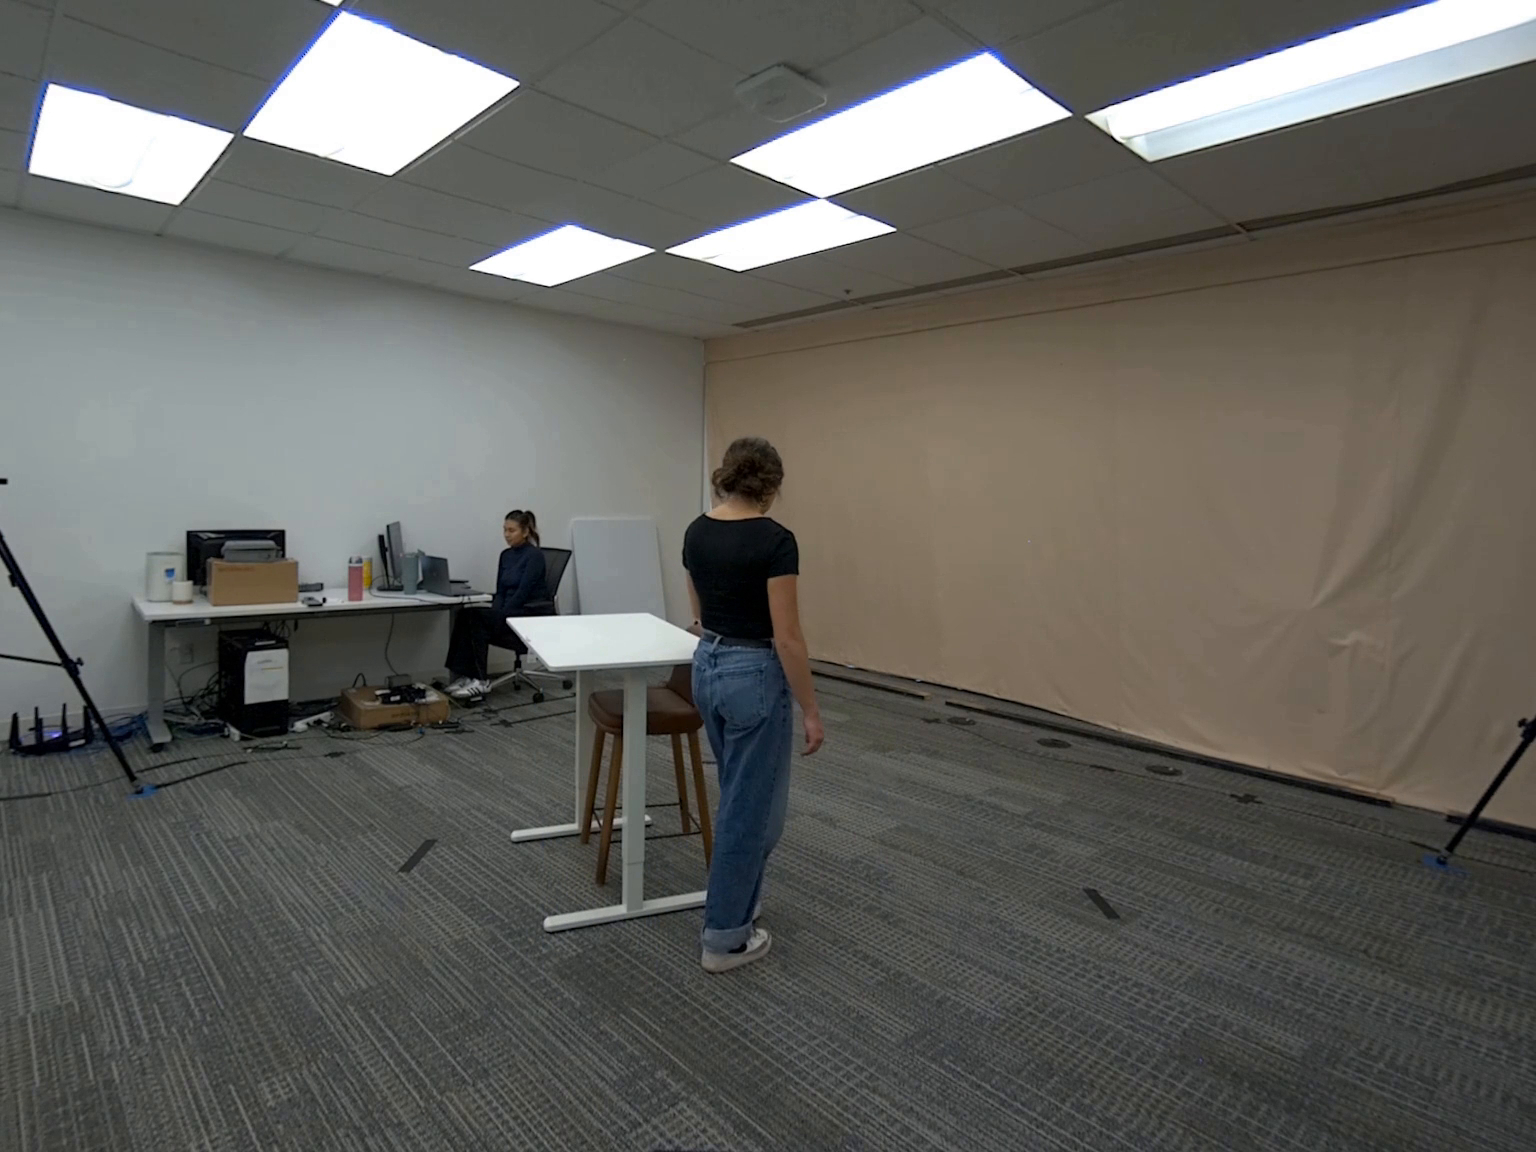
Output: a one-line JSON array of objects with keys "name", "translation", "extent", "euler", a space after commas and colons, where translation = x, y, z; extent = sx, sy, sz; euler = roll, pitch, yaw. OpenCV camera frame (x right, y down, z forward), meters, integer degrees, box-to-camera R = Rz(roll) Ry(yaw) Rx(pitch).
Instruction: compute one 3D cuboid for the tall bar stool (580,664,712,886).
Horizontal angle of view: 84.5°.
[{"name": "tall bar stool", "translation": [-0.460, 0.659, 3.240], "extent": [0.460, 0.888, 0.464], "euler": [3, 2, -20]}]
